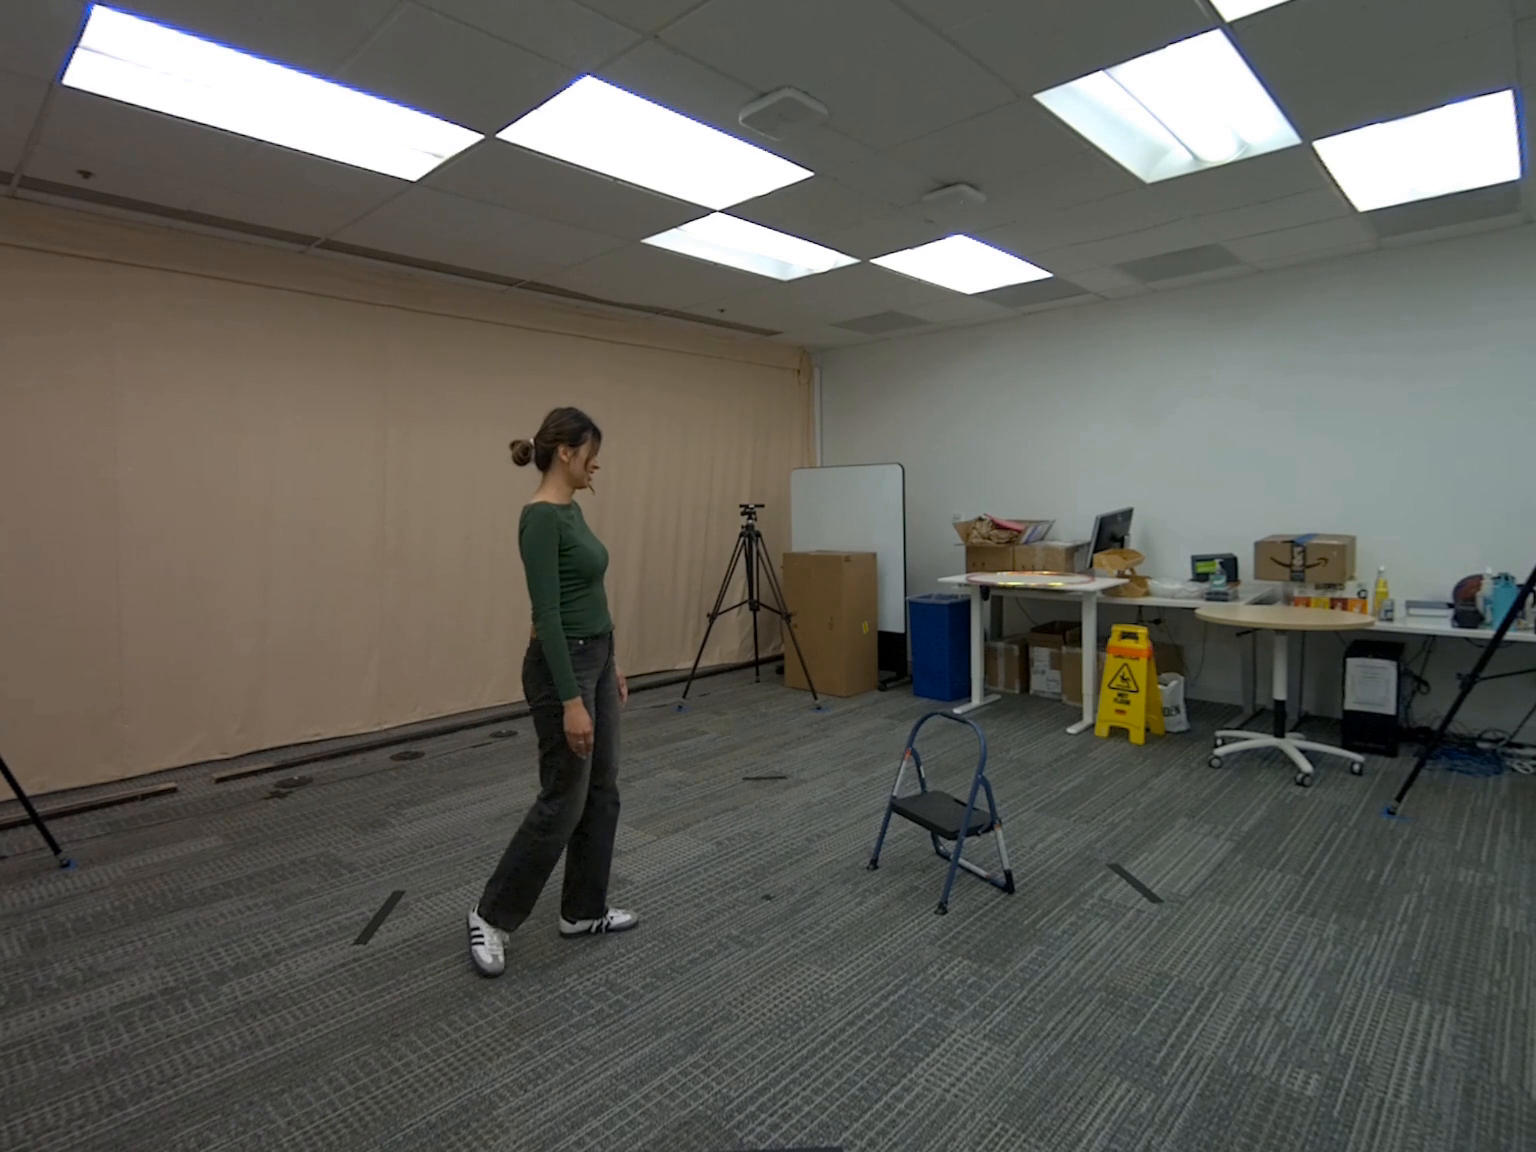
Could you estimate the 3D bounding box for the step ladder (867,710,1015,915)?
[{"bbox_3d":[0.631,0.815,3.081,0.340,0.605,0.442,-2,4,-28],"label":"step ladder"}]
